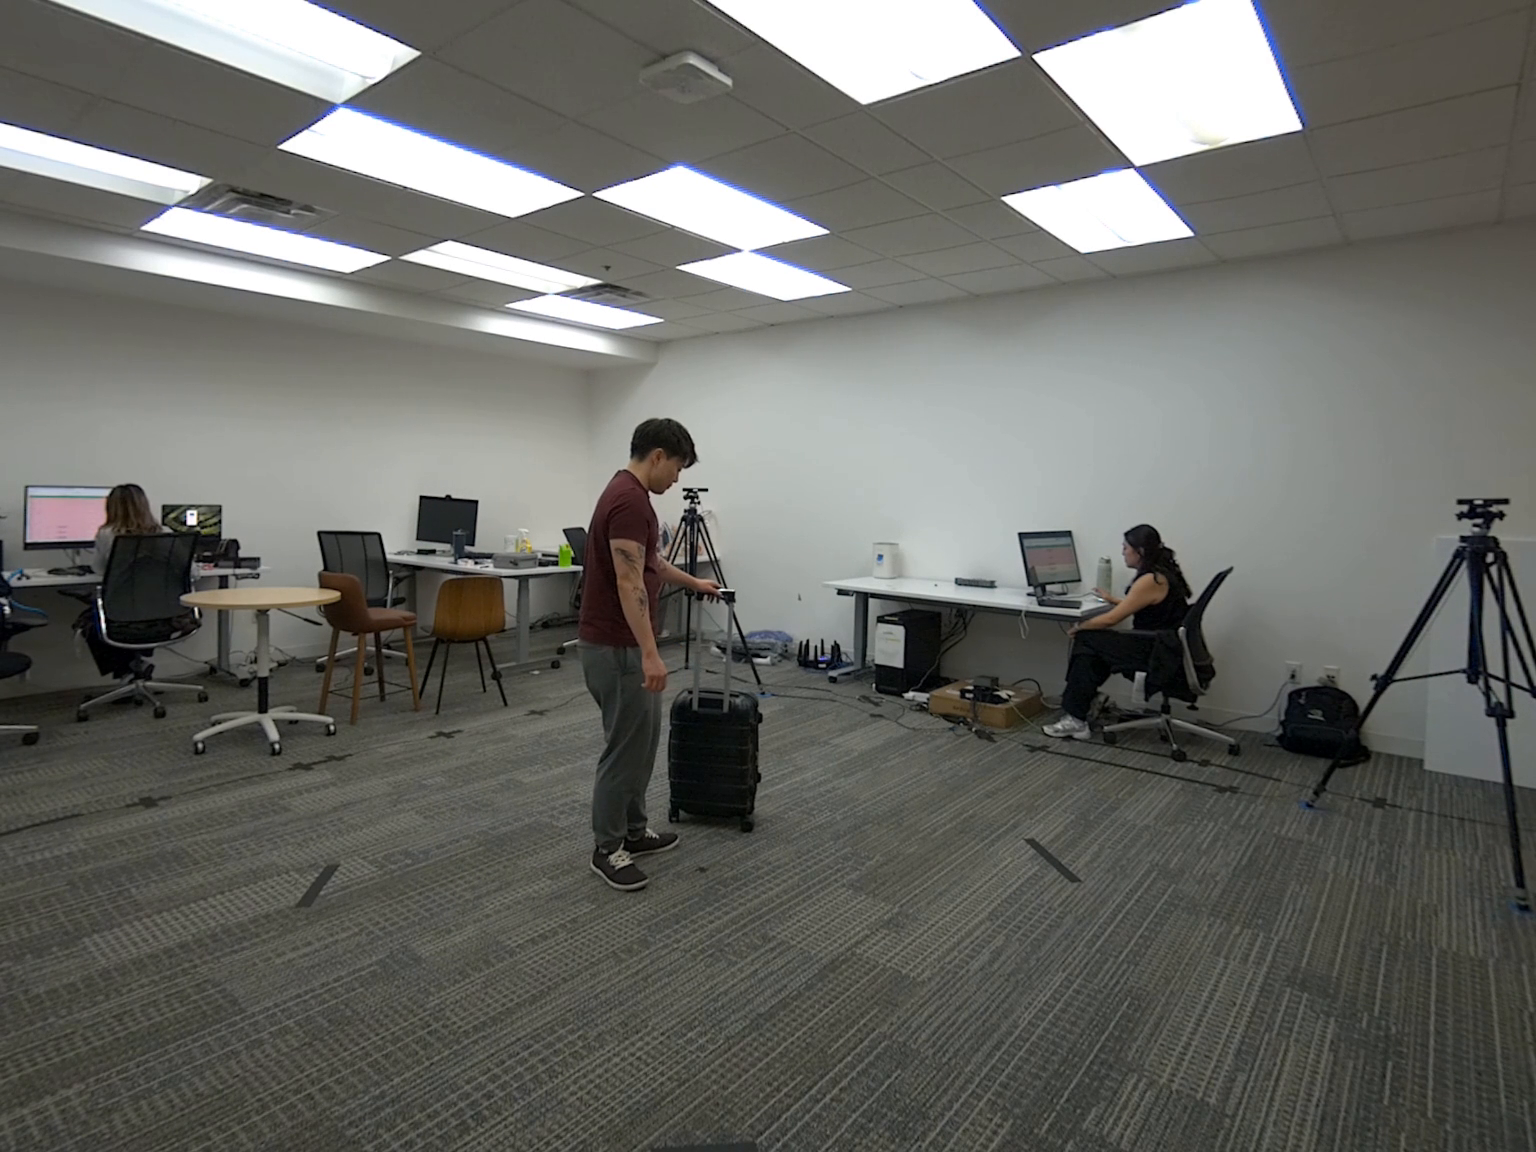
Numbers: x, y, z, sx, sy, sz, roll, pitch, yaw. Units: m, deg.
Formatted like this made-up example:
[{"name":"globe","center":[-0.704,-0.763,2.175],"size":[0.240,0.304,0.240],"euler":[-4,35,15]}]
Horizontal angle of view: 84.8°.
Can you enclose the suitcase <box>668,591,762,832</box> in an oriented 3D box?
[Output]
[{"name":"suitcase","center":[-0.229,0.546,3.592],"size":[0.389,0.978,0.254],"euler":[2,1,10]}]
